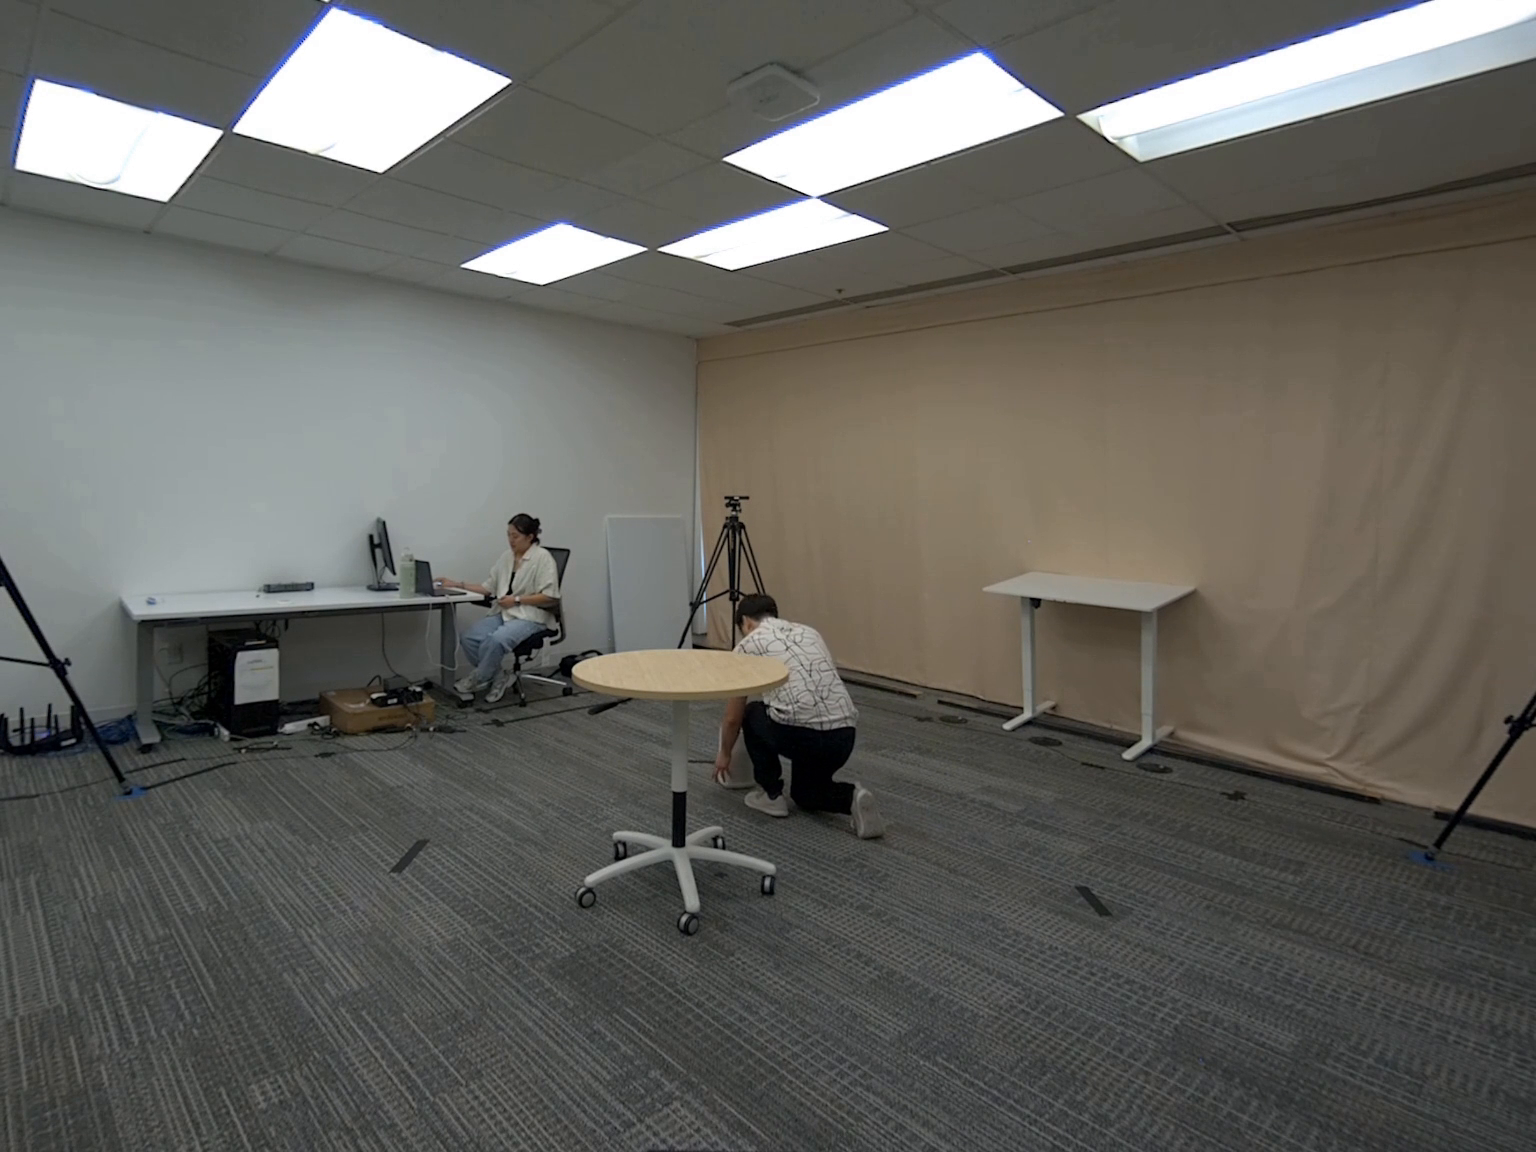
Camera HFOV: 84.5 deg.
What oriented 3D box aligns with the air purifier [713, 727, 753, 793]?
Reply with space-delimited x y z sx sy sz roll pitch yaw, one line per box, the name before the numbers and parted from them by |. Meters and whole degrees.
air purifier | -0.159 0.886 4.110 0.169 0.264 0.173 1 4 -16
